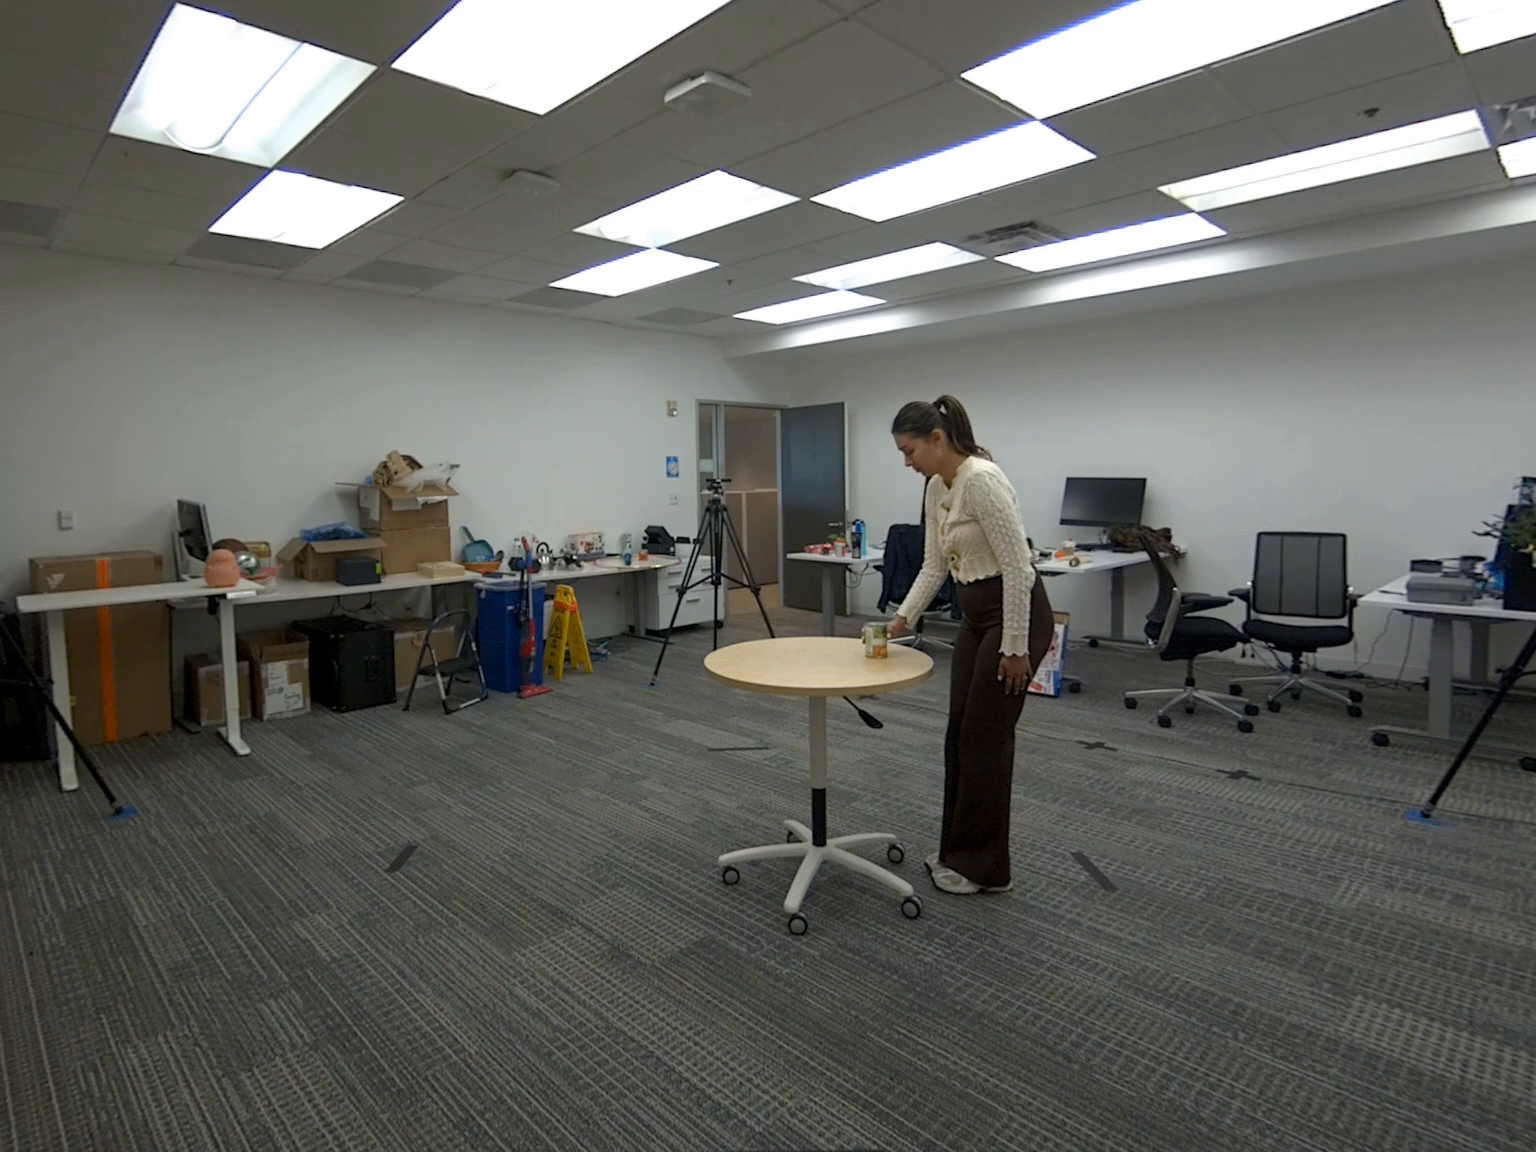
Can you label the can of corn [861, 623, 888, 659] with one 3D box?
[{"bbox_3d":[0.375,0.221,2.917,0.074,0.111,0.074,4,4,-2],"label":"can of corn"}]
